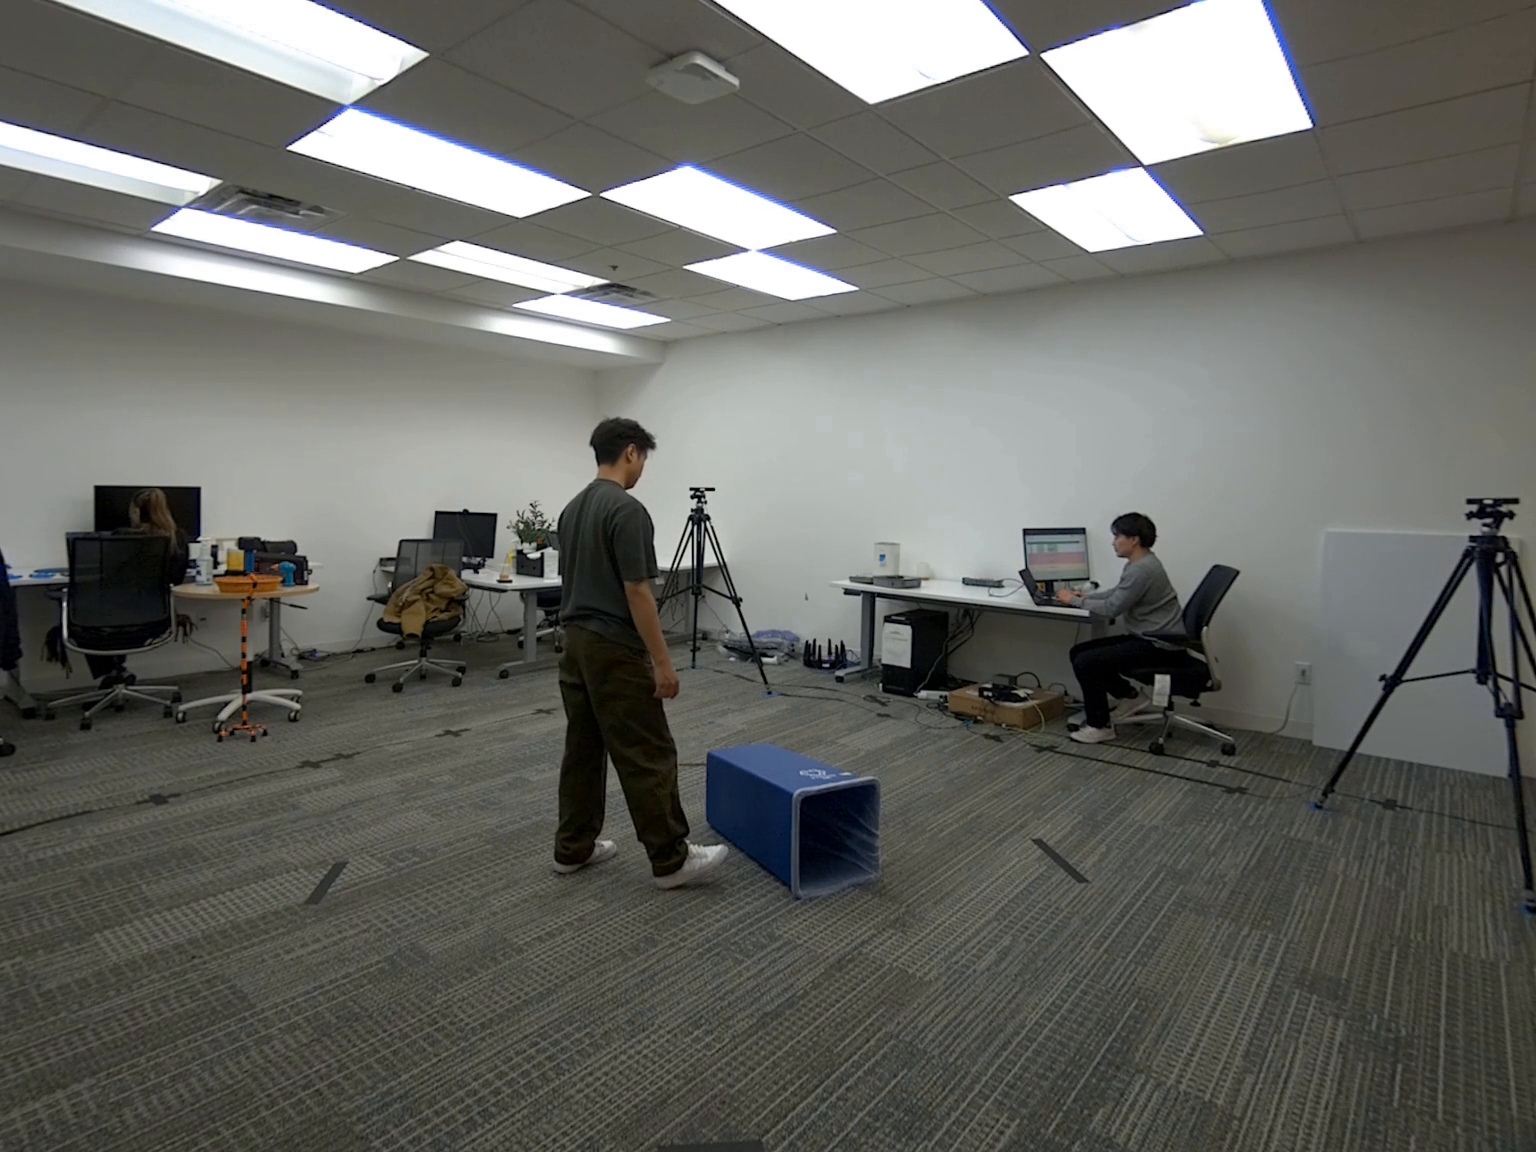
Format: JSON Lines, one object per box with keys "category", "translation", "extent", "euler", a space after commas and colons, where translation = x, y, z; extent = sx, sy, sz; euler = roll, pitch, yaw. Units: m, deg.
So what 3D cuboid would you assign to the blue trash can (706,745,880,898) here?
{"category": "blue trash can", "translation": [0.055, 0.891, 3.270], "extent": [0.368, 0.373, 0.734], "euler": [-1, 3, -31]}
